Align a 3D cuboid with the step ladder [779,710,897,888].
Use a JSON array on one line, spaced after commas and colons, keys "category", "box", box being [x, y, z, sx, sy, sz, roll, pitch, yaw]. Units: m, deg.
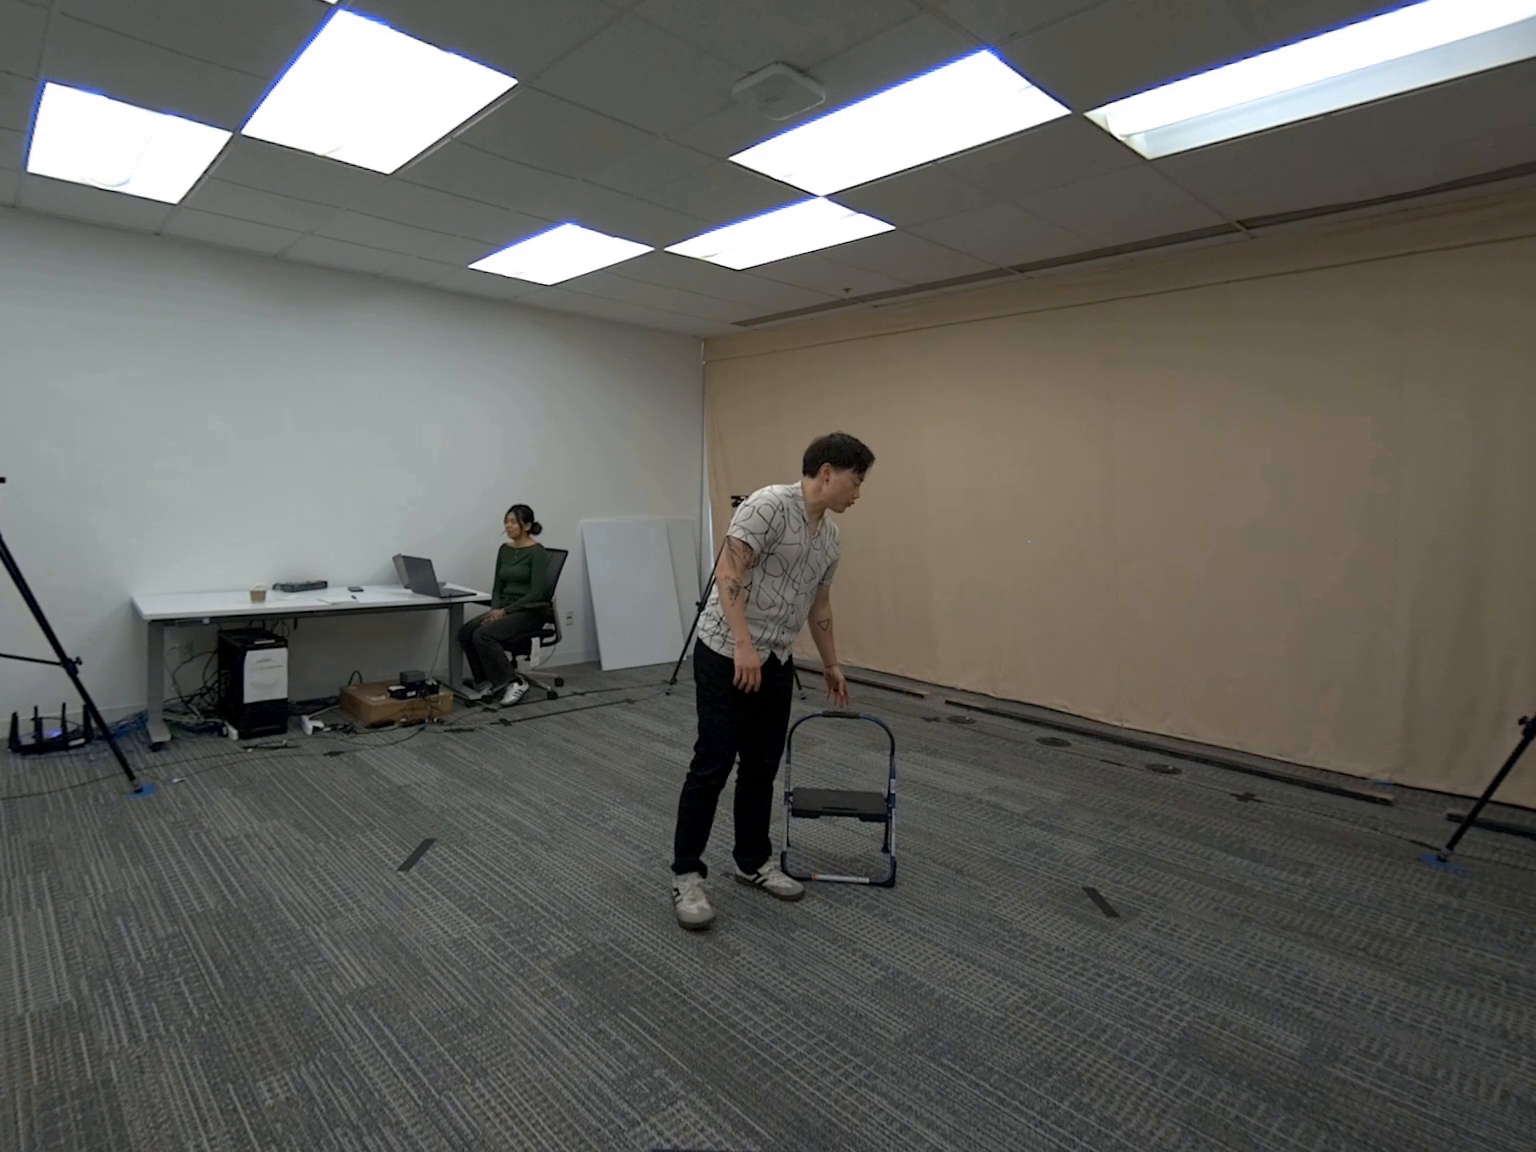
[{"category": "step ladder", "box": [0.265, 0.804, 3.195, 0.432, 0.604, 0.349, 3, 3, 3]}]
